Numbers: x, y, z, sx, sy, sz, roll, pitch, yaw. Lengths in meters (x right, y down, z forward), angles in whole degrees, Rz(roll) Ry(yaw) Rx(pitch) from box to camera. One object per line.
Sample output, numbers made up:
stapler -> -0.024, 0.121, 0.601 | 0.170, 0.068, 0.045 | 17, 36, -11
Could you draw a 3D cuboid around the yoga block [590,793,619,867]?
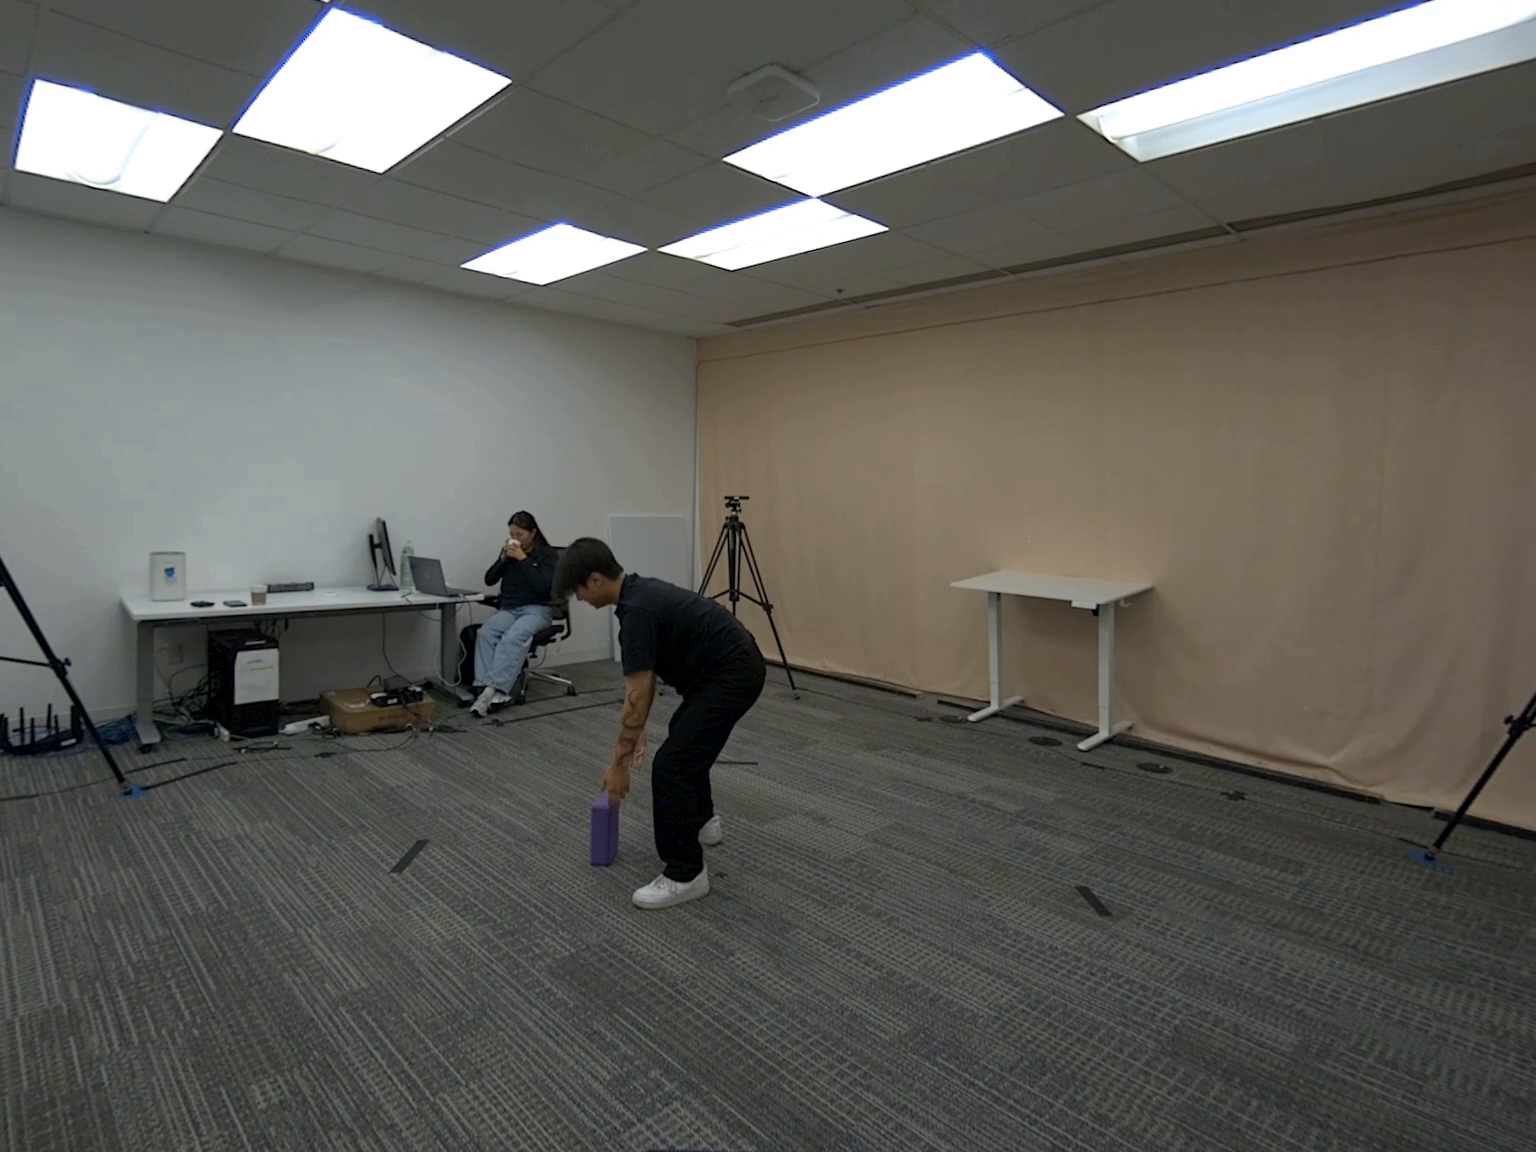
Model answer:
yoga block -> -0.632, 0.970, 3.216 | 0.077, 0.228, 0.149 | 3, 6, 4
